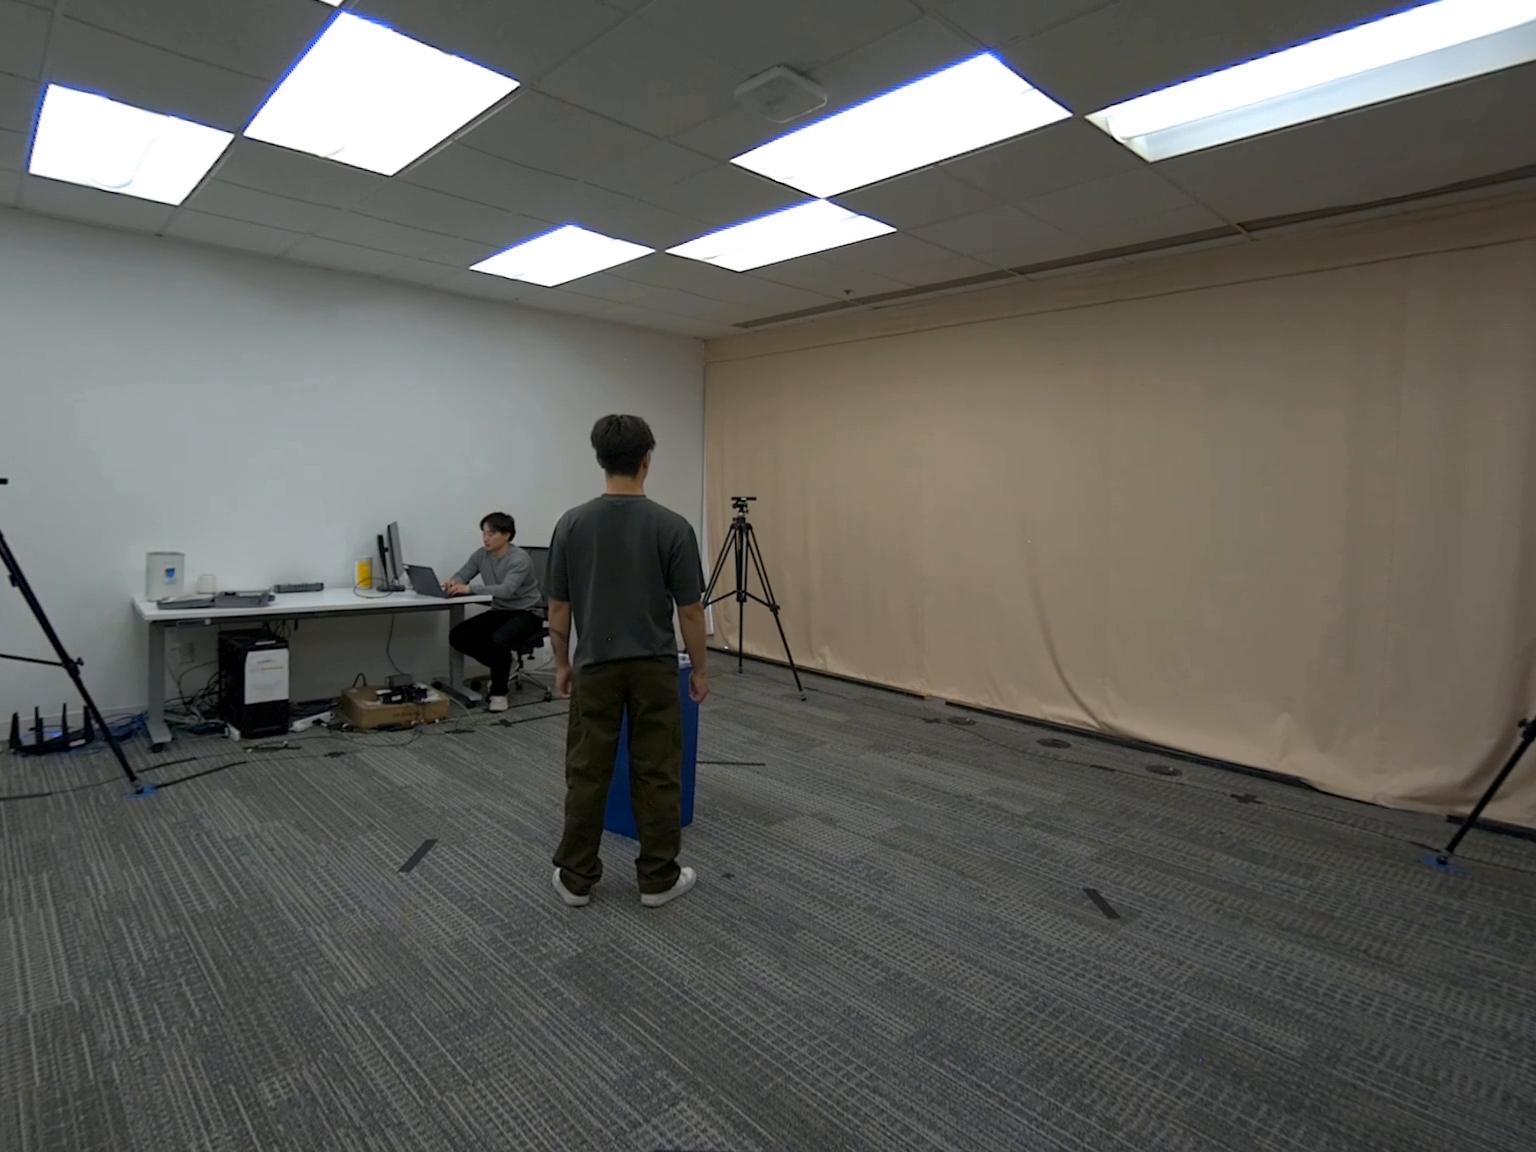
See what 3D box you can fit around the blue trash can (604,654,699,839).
[{"bbox_3d":[-0.516,0.702,3.565,0.383,0.712,0.370,2,3,33],"label":"blue trash can"}]
